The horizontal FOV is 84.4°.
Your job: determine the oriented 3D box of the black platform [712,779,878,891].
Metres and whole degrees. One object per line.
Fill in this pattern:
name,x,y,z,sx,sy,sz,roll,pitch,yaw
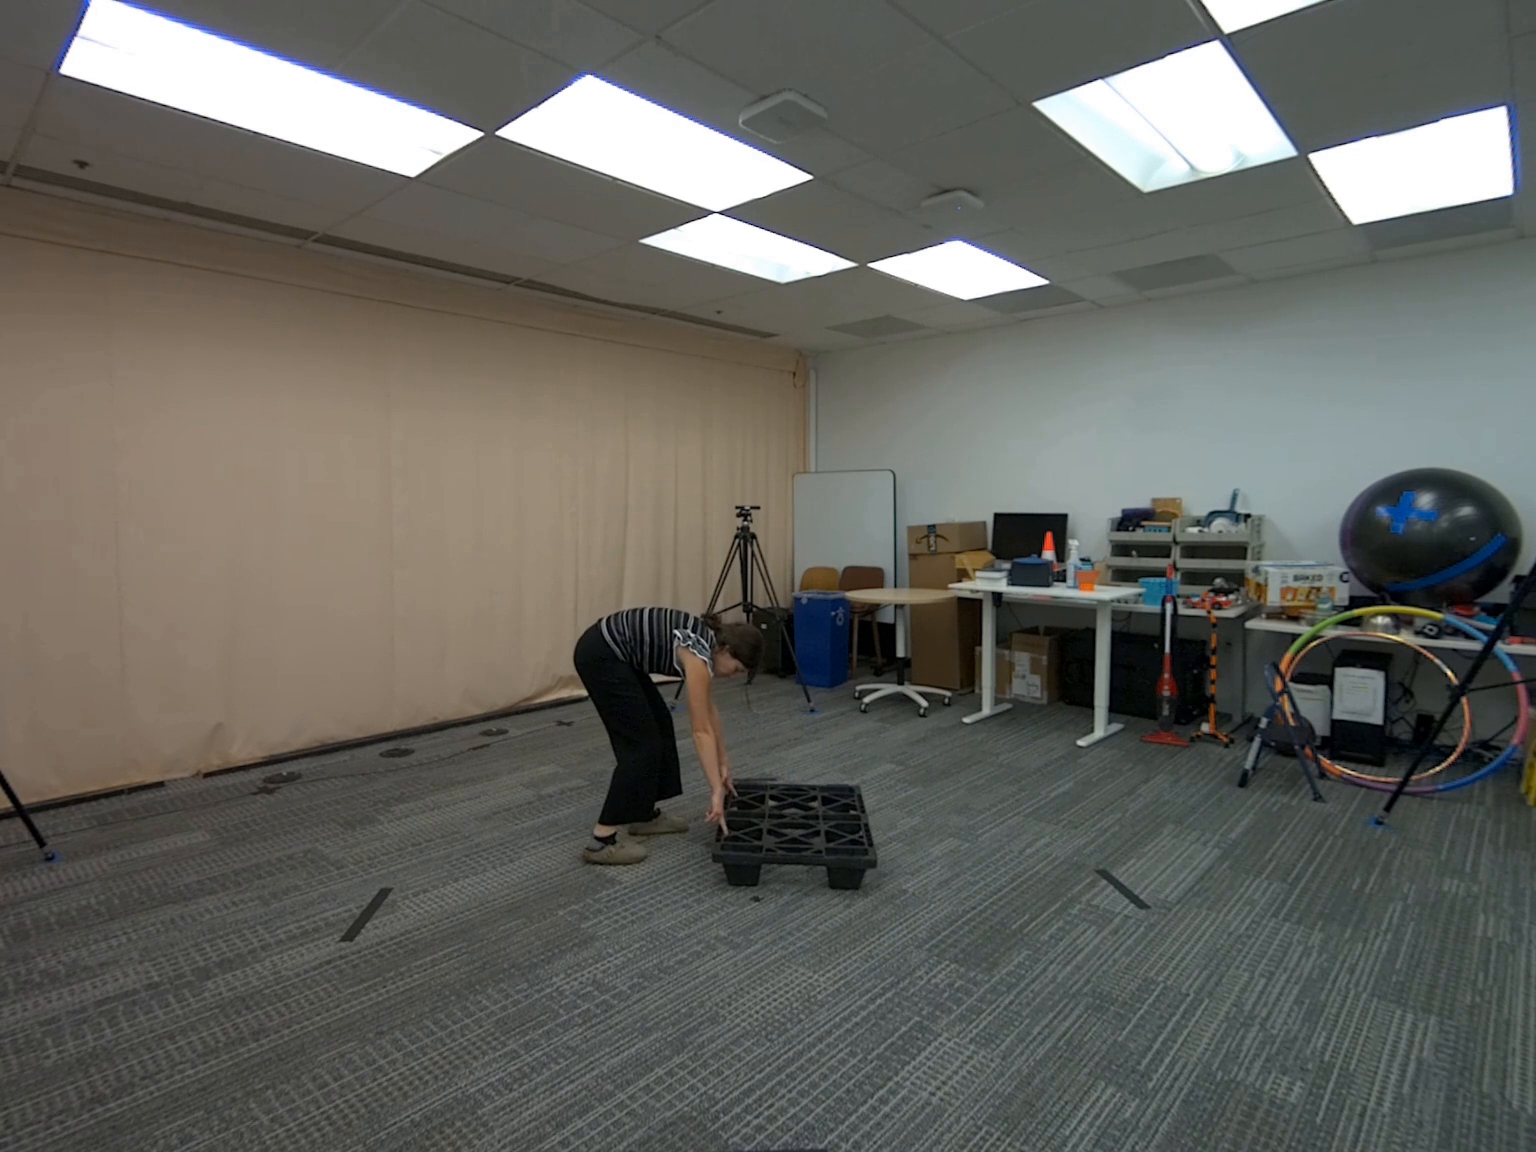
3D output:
black platform,0.108,1.038,3.421,0.608,0.143,0.804,1,5,3
